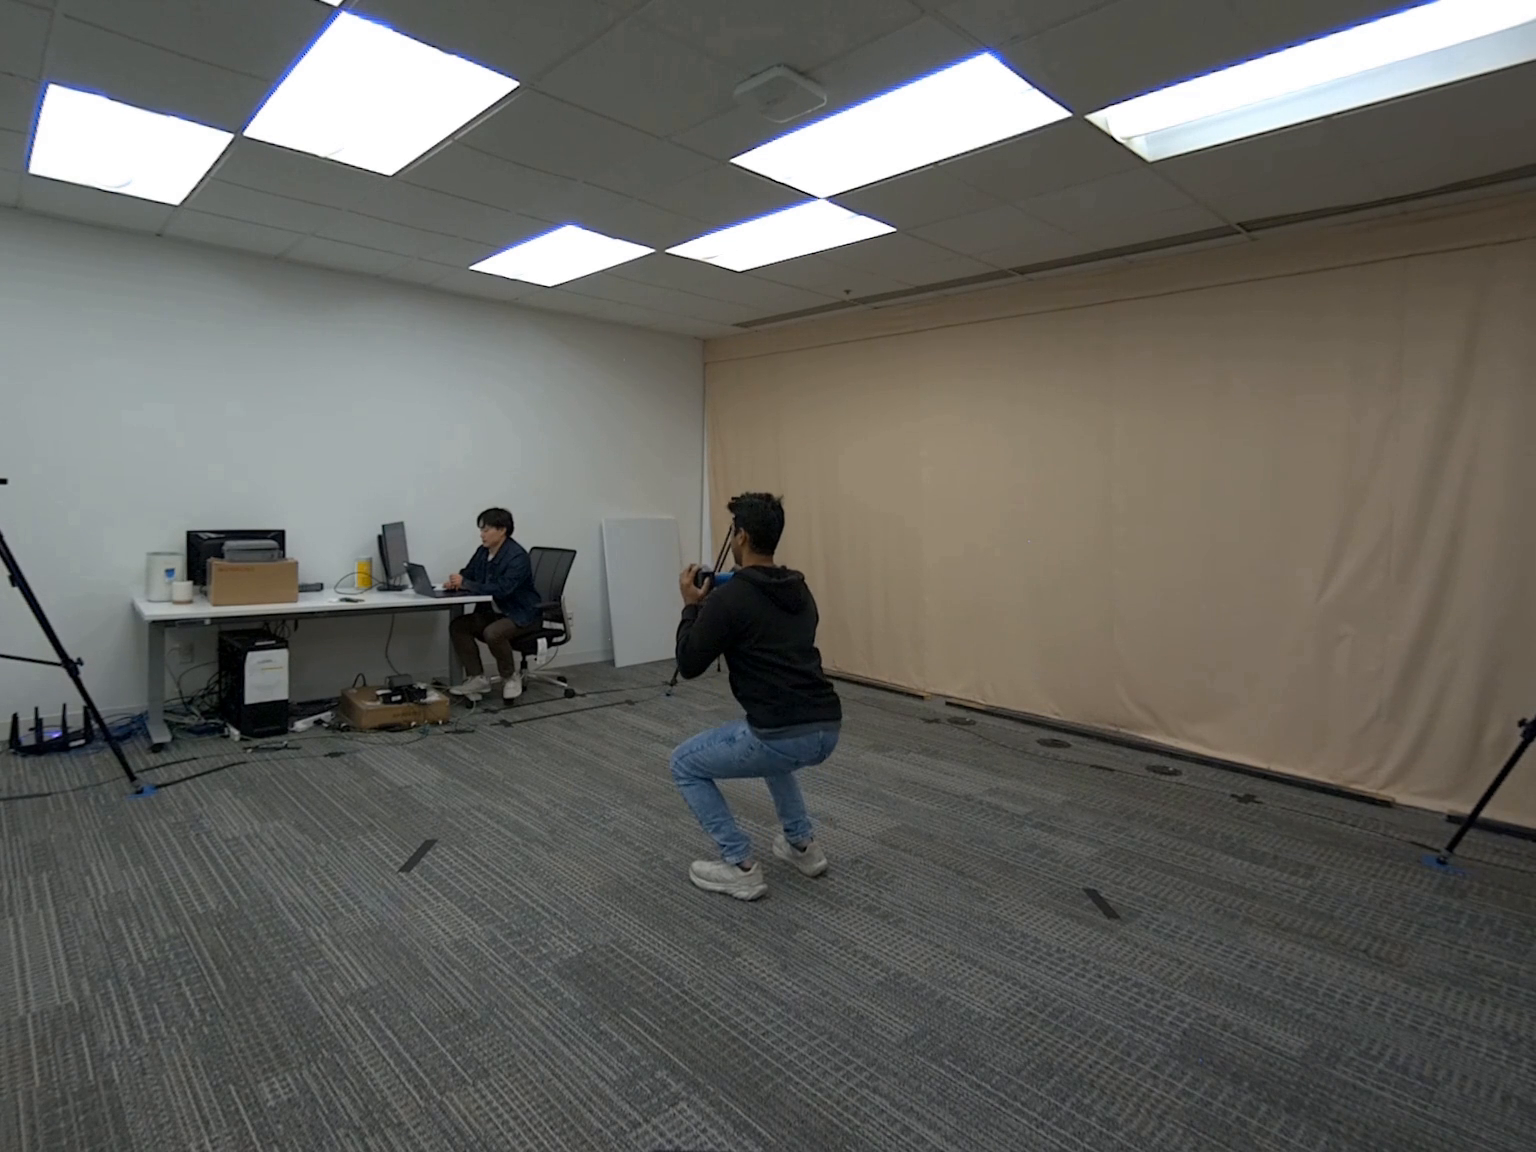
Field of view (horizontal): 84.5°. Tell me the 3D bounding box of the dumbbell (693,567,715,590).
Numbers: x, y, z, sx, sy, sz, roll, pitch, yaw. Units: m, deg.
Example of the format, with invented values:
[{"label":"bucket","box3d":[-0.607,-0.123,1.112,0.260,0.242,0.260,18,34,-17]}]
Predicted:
[{"label":"dumbbell","box3d":[-0.173,0.019,3.252,0.287,0.123,0.111,-3,-2,-42]}]
